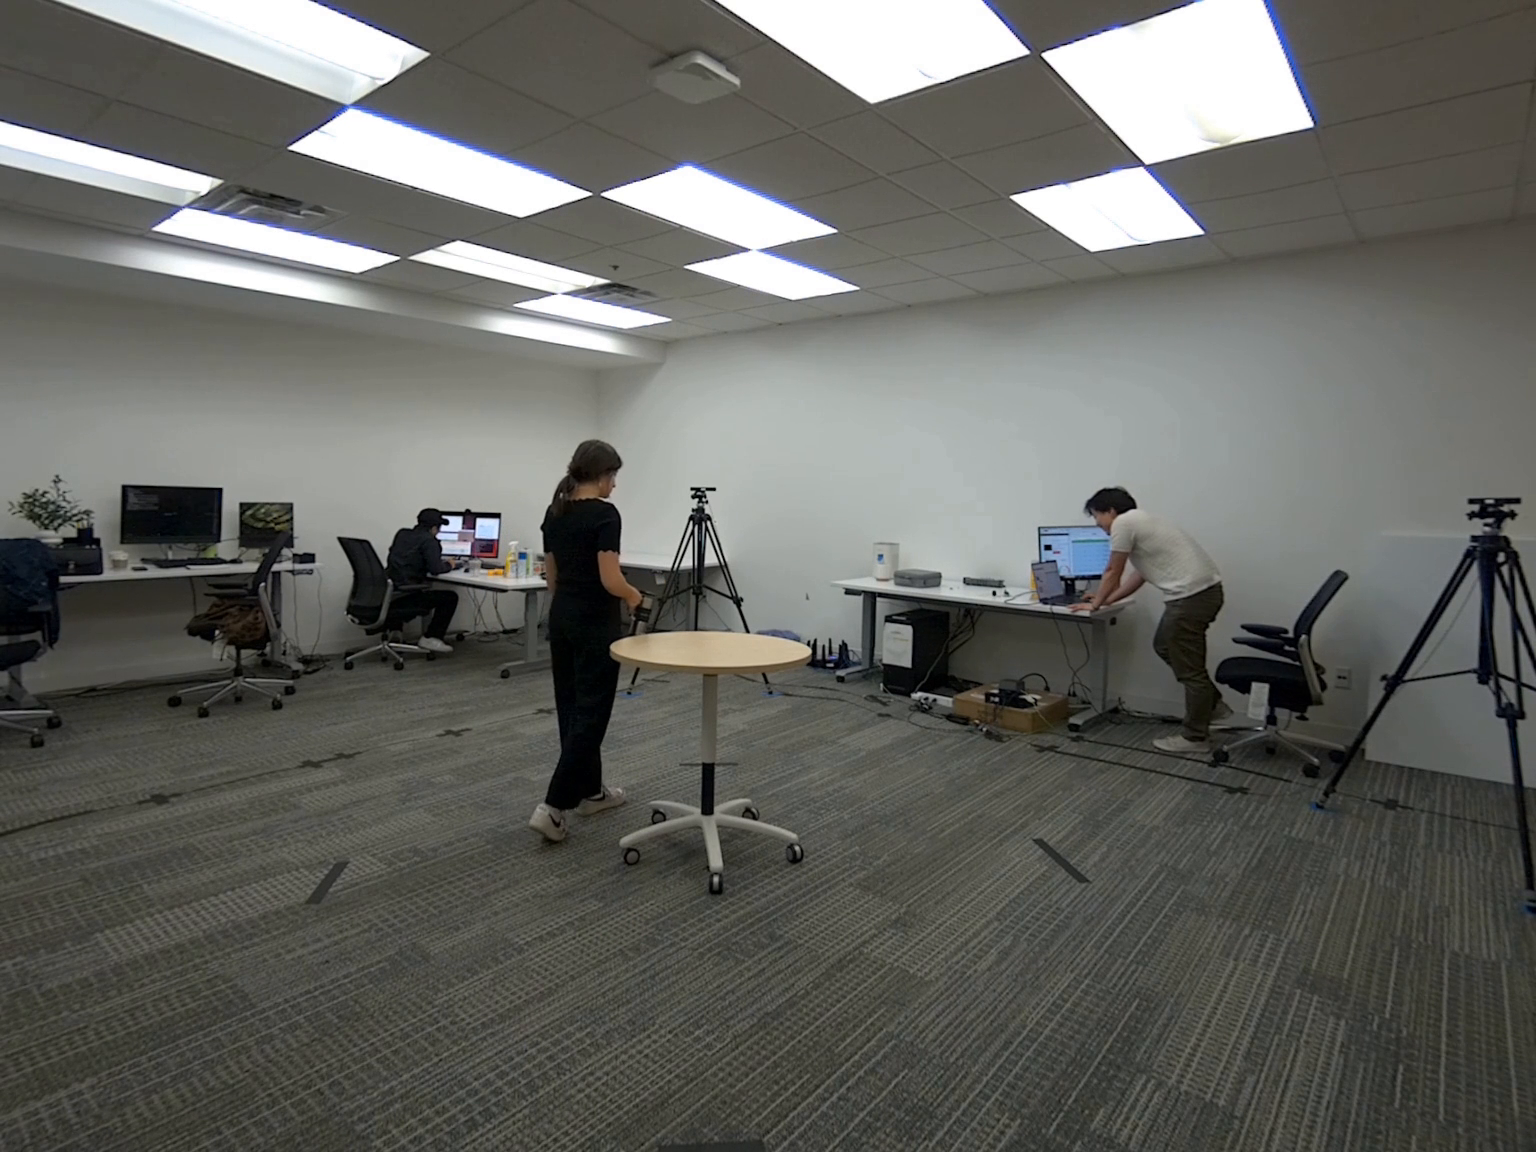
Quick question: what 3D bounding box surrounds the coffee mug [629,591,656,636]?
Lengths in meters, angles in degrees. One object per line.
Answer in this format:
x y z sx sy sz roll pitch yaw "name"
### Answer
-0.582 0.161 3.640 0.118 0.203 0.090 17 -2 -28 "coffee mug"
